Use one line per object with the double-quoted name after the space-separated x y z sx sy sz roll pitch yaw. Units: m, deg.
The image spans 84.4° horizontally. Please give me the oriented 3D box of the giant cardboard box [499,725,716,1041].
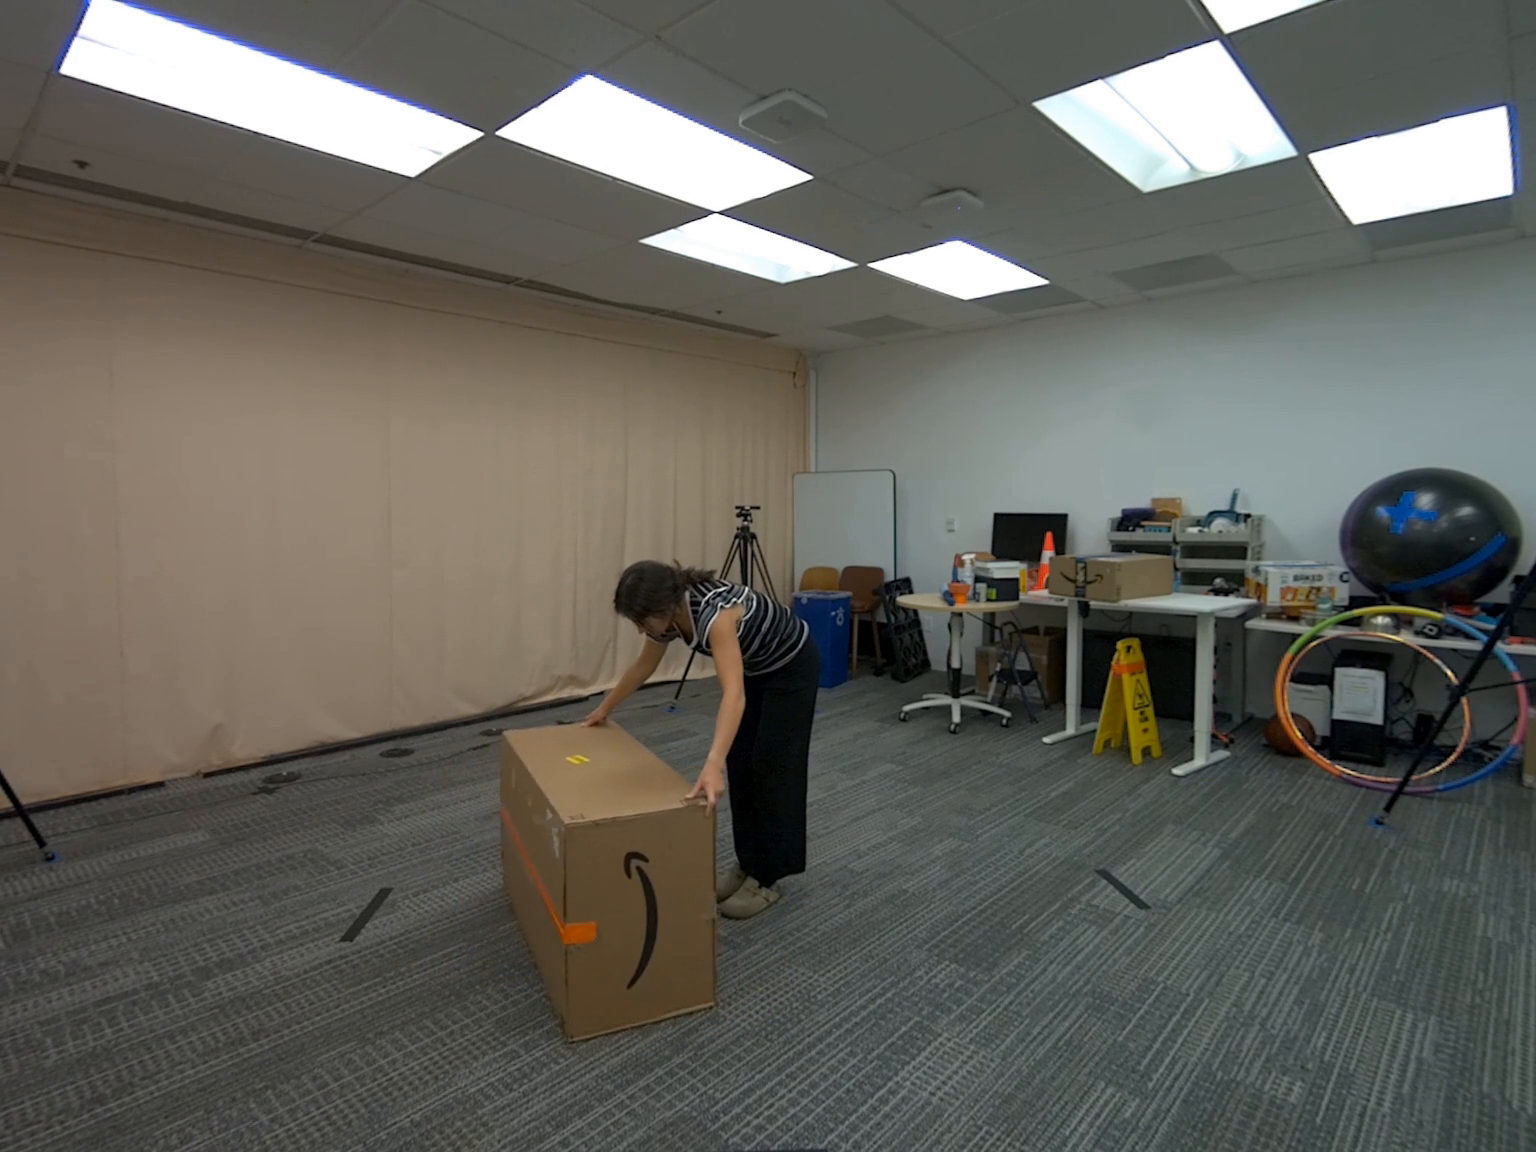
-0.561 0.878 2.710 0.416 0.576 1.052 -2 4 -26 "giant cardboard box"
